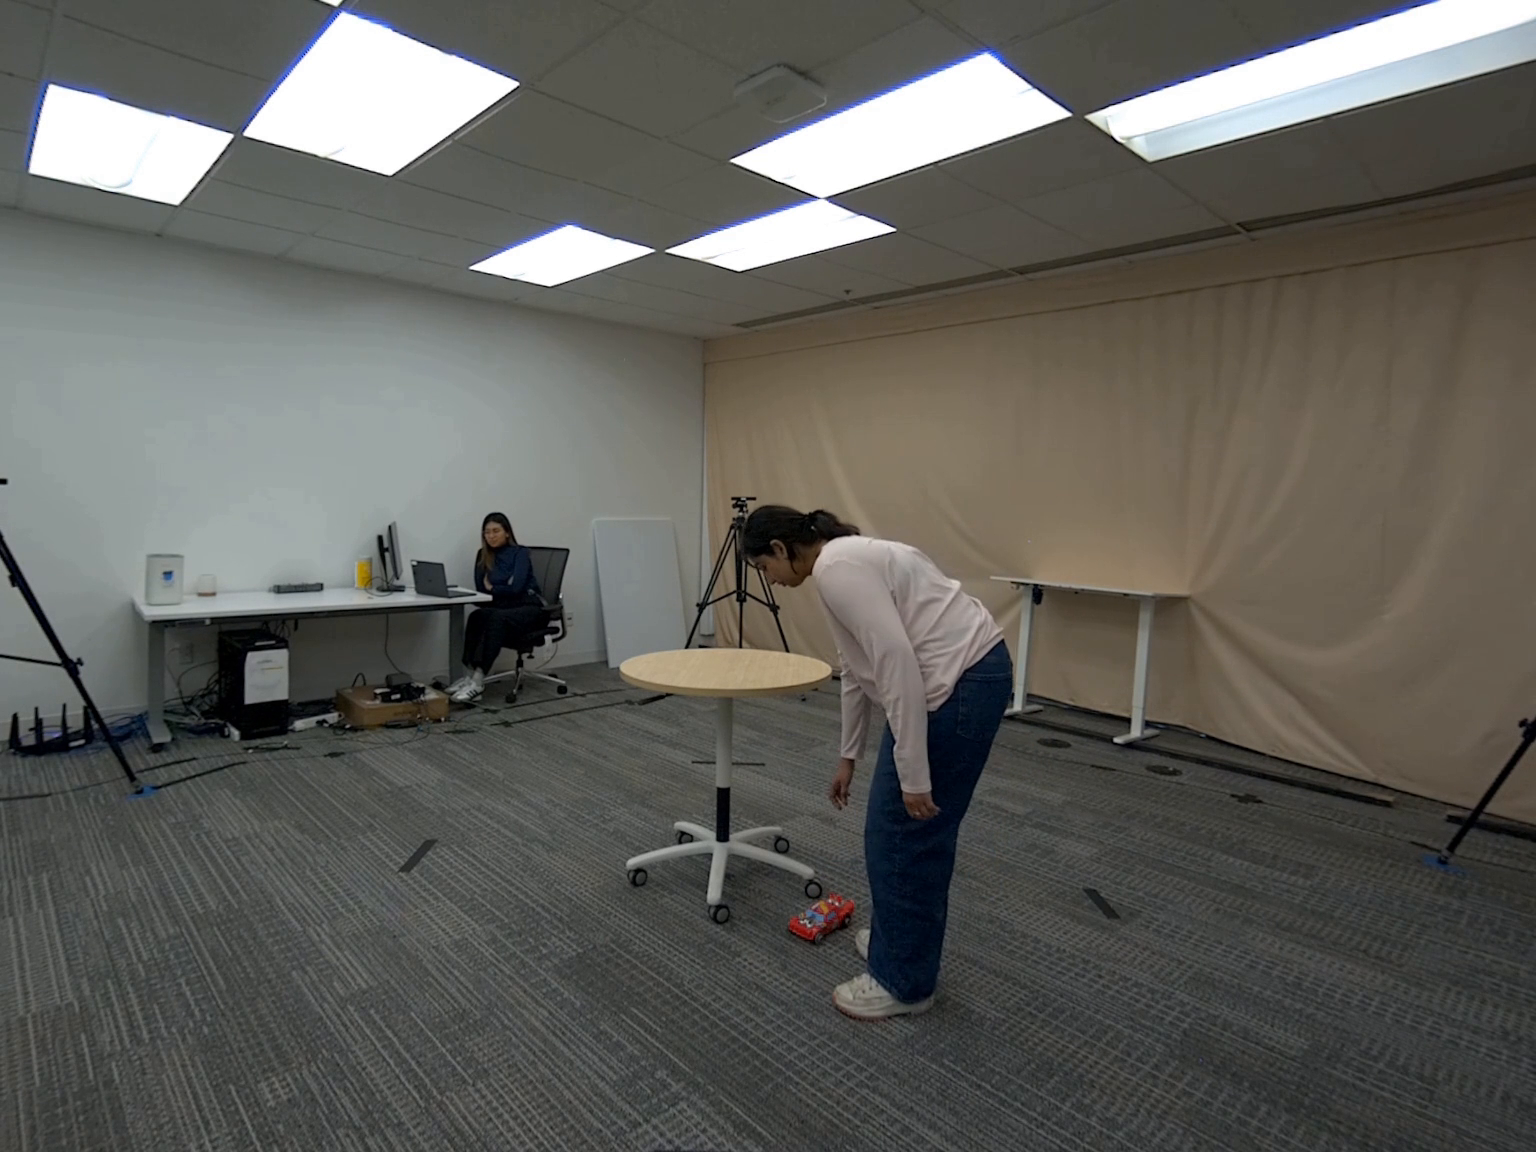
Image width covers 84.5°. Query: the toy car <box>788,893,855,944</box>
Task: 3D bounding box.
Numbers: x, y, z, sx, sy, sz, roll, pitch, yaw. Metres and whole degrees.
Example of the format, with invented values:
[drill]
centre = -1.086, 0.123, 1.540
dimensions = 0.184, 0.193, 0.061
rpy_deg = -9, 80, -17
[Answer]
[toy car]
centre = 0.180, 1.114, 2.738
dimensions = 0.134, 0.082, 0.250
rpy_deg = 6, 18, 43
